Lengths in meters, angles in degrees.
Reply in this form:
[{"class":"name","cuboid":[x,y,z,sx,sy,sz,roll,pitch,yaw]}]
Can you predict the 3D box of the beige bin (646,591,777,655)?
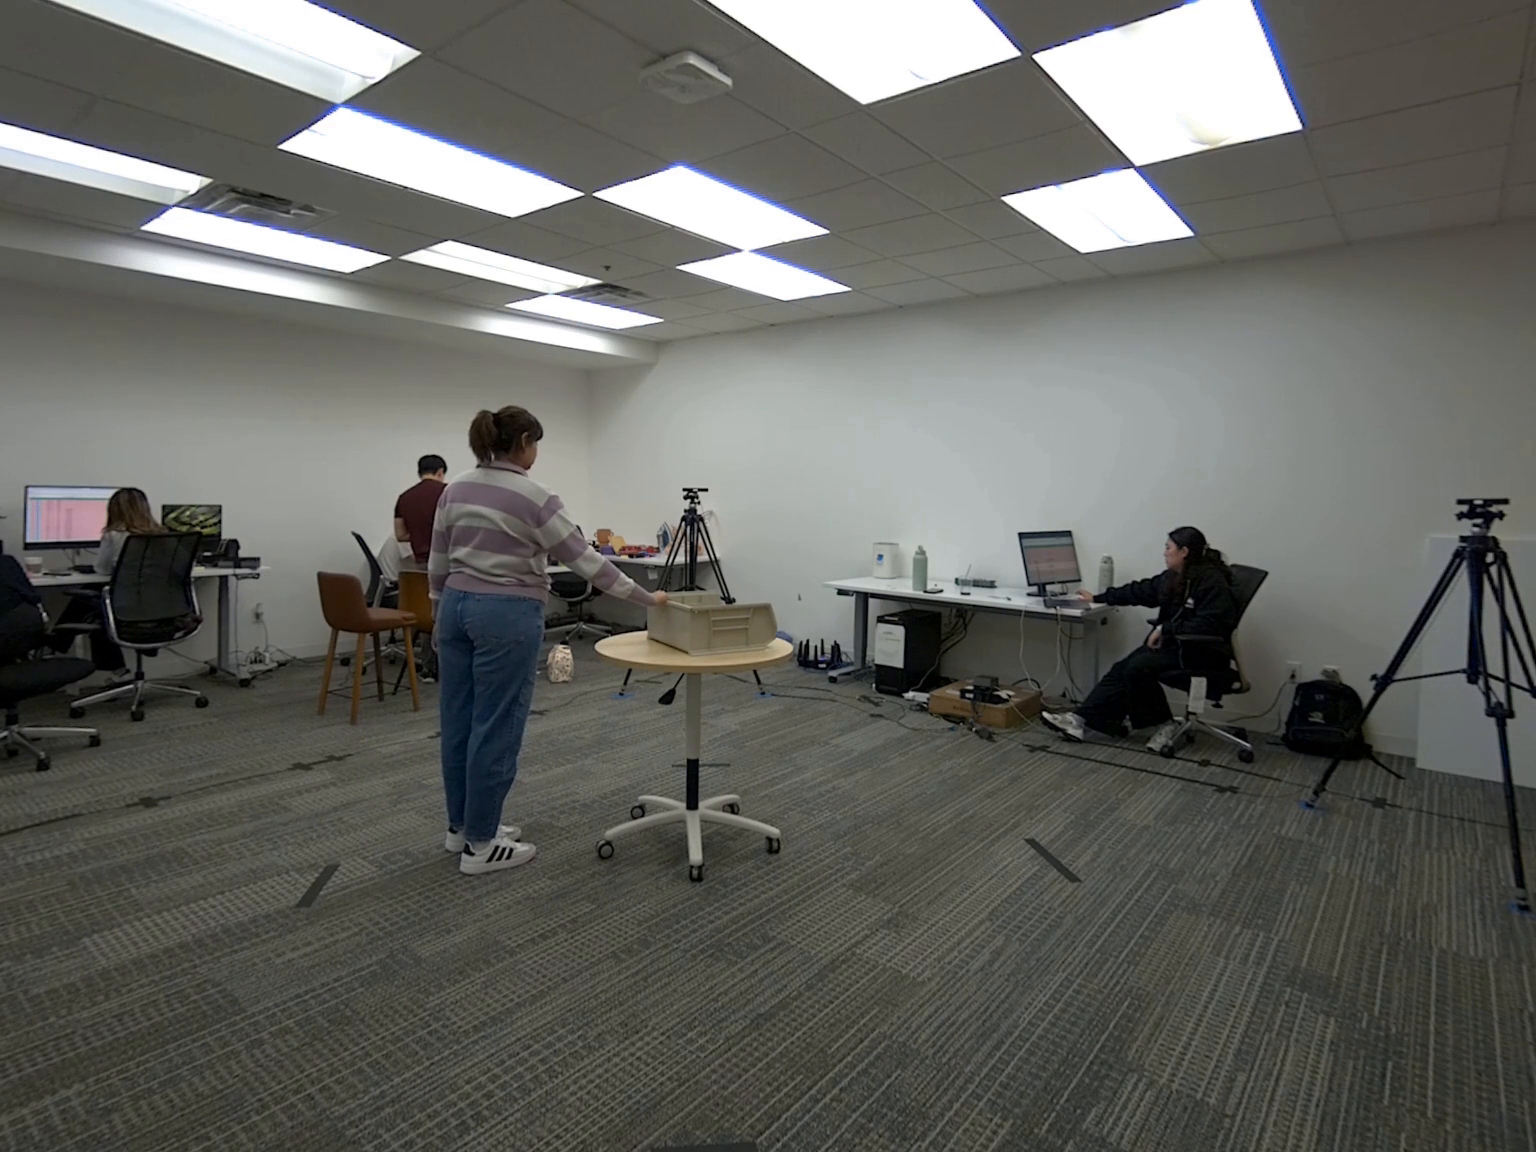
[{"class":"beige bin","cuboid":[-0.246,0.177,3.333,0.368,0.188,0.436,-4,7,-30]}]
